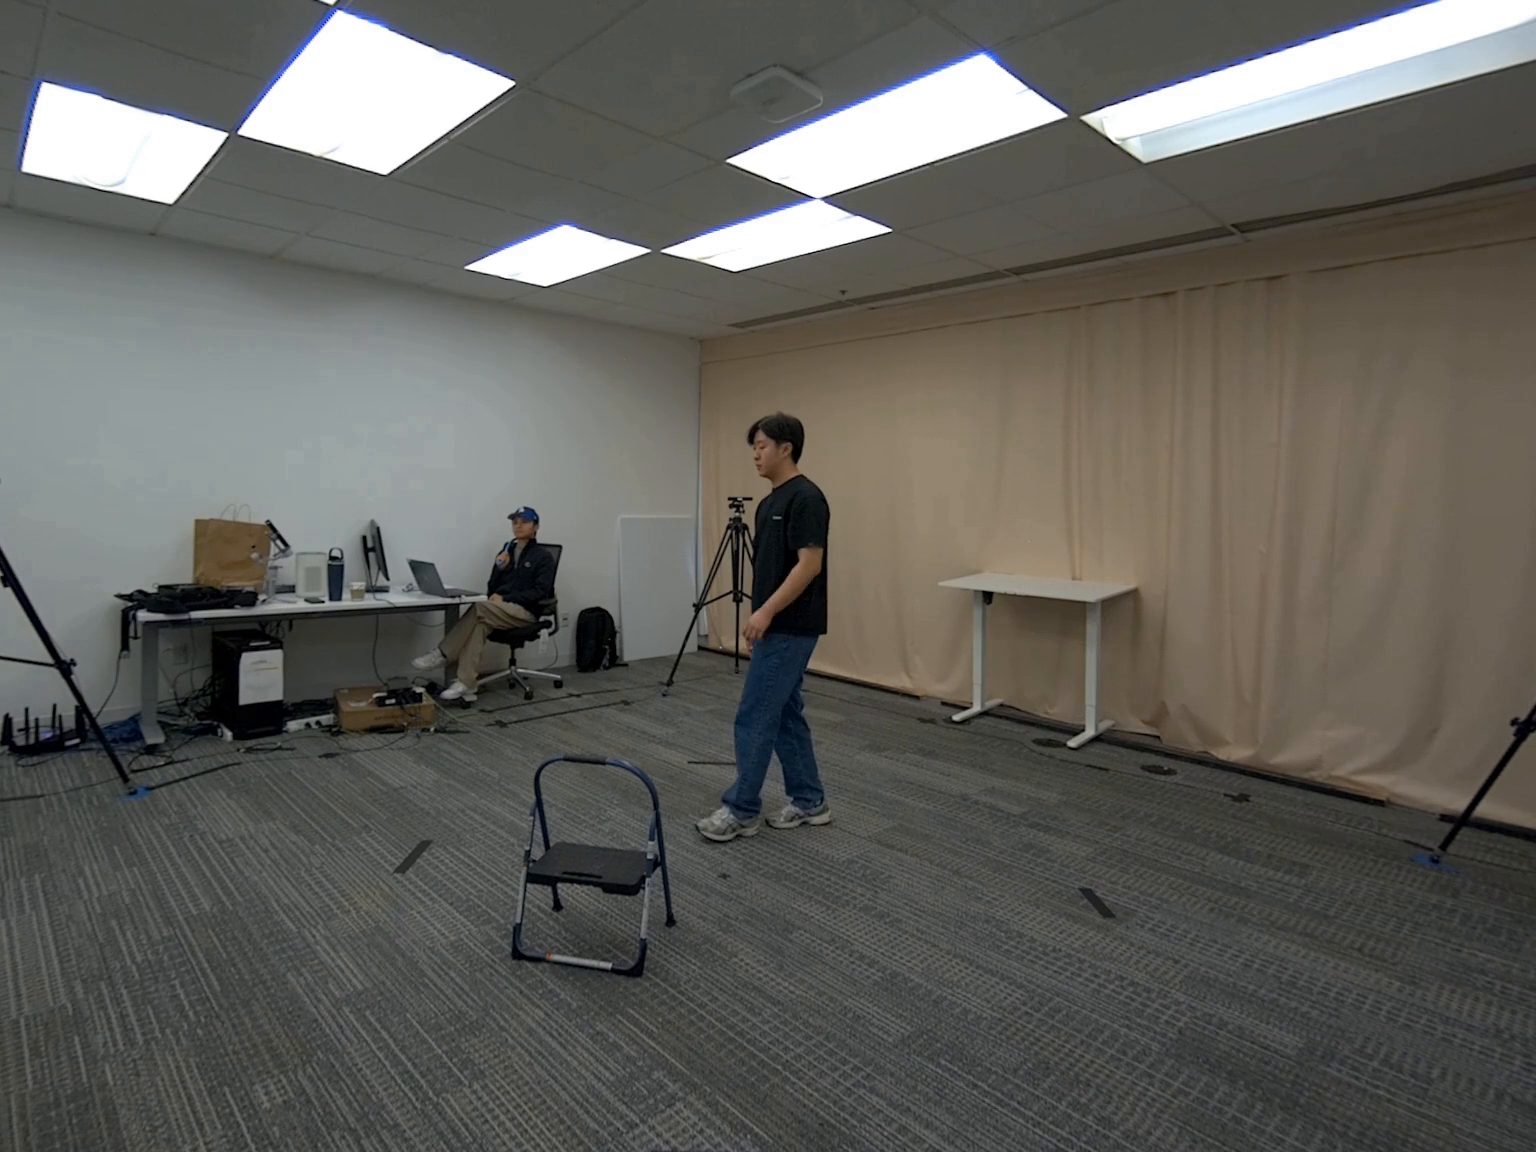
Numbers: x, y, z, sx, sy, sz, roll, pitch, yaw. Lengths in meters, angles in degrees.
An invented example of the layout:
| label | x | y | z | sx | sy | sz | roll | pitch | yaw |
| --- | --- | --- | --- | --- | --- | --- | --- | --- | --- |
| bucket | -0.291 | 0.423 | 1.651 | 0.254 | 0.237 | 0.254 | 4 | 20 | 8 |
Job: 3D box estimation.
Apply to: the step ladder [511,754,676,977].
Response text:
| label | x | y | z | sx | sy | sz | roll | pitch | yaw |
| --- | --- | --- | --- | --- | --- | --- | --- | --- | --- |
| step ladder | -0.539 | 0.842 | 2.622 | 0.434 | 0.605 | 0.347 | 2 | 3 | 10 |
